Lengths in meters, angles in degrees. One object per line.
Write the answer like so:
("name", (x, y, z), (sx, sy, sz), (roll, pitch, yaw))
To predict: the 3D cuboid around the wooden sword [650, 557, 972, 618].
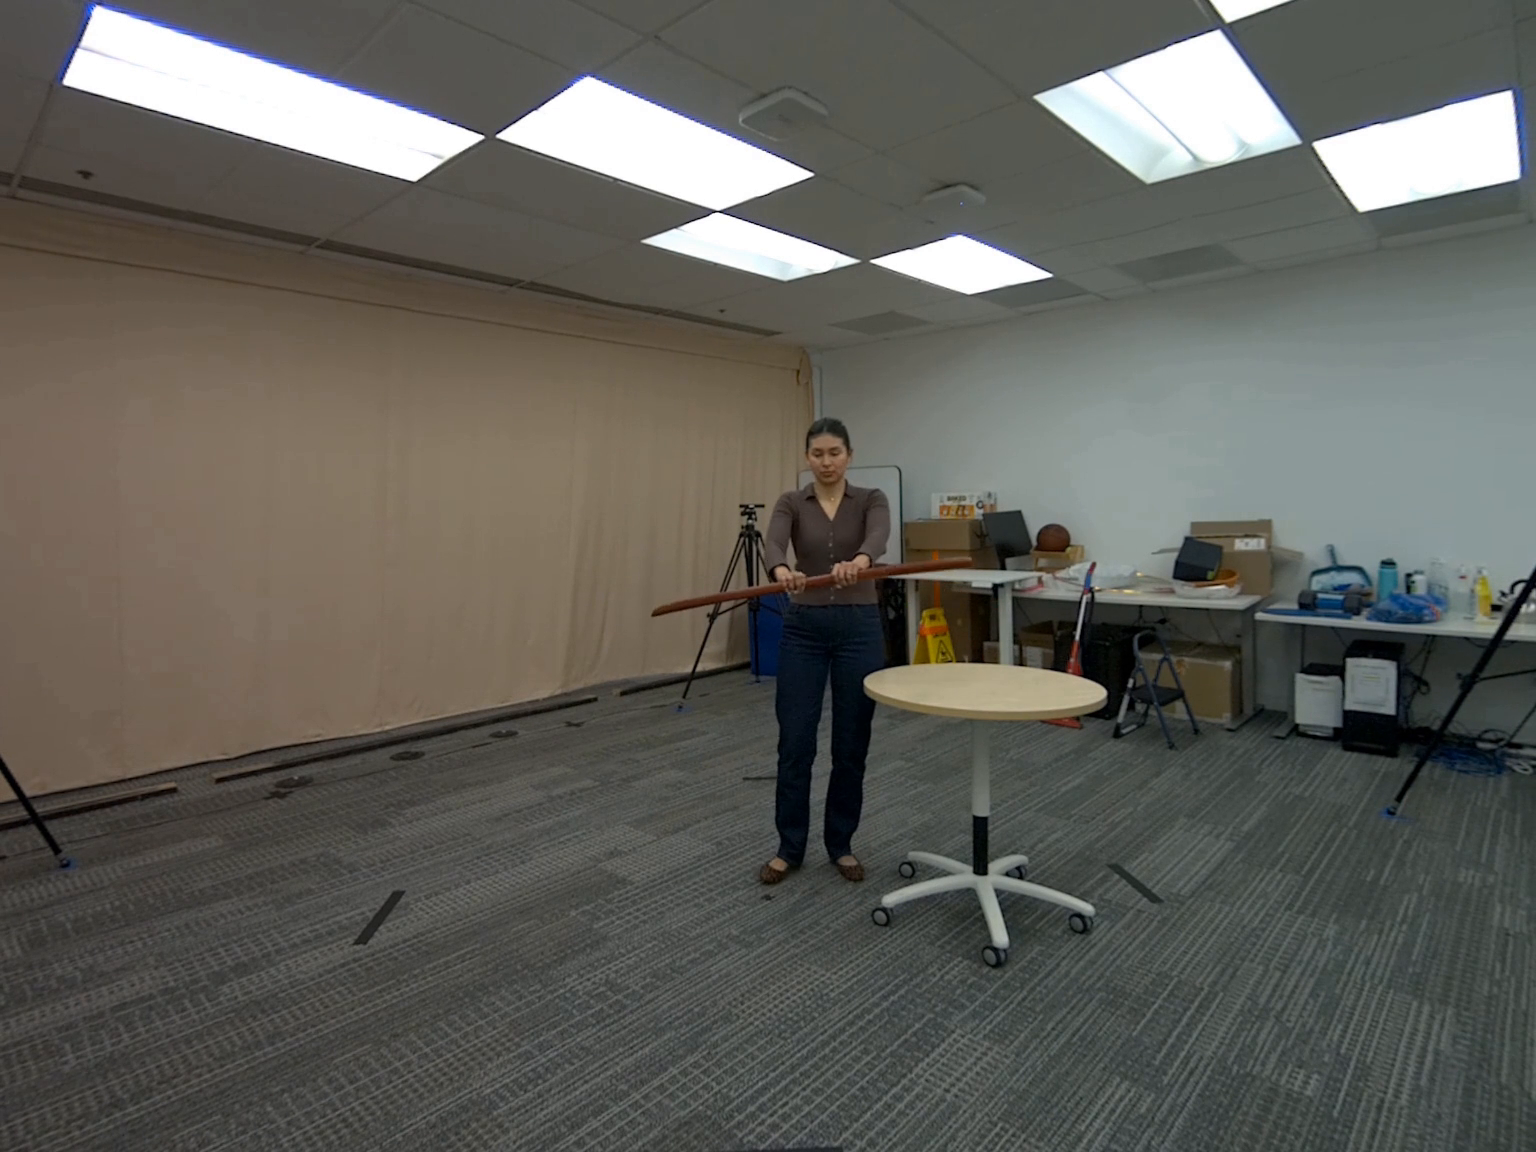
("wooden sword", (0.133, 0.034, 2.646), (1.032, 0.024, 0.050), (-8, -39, 8))
